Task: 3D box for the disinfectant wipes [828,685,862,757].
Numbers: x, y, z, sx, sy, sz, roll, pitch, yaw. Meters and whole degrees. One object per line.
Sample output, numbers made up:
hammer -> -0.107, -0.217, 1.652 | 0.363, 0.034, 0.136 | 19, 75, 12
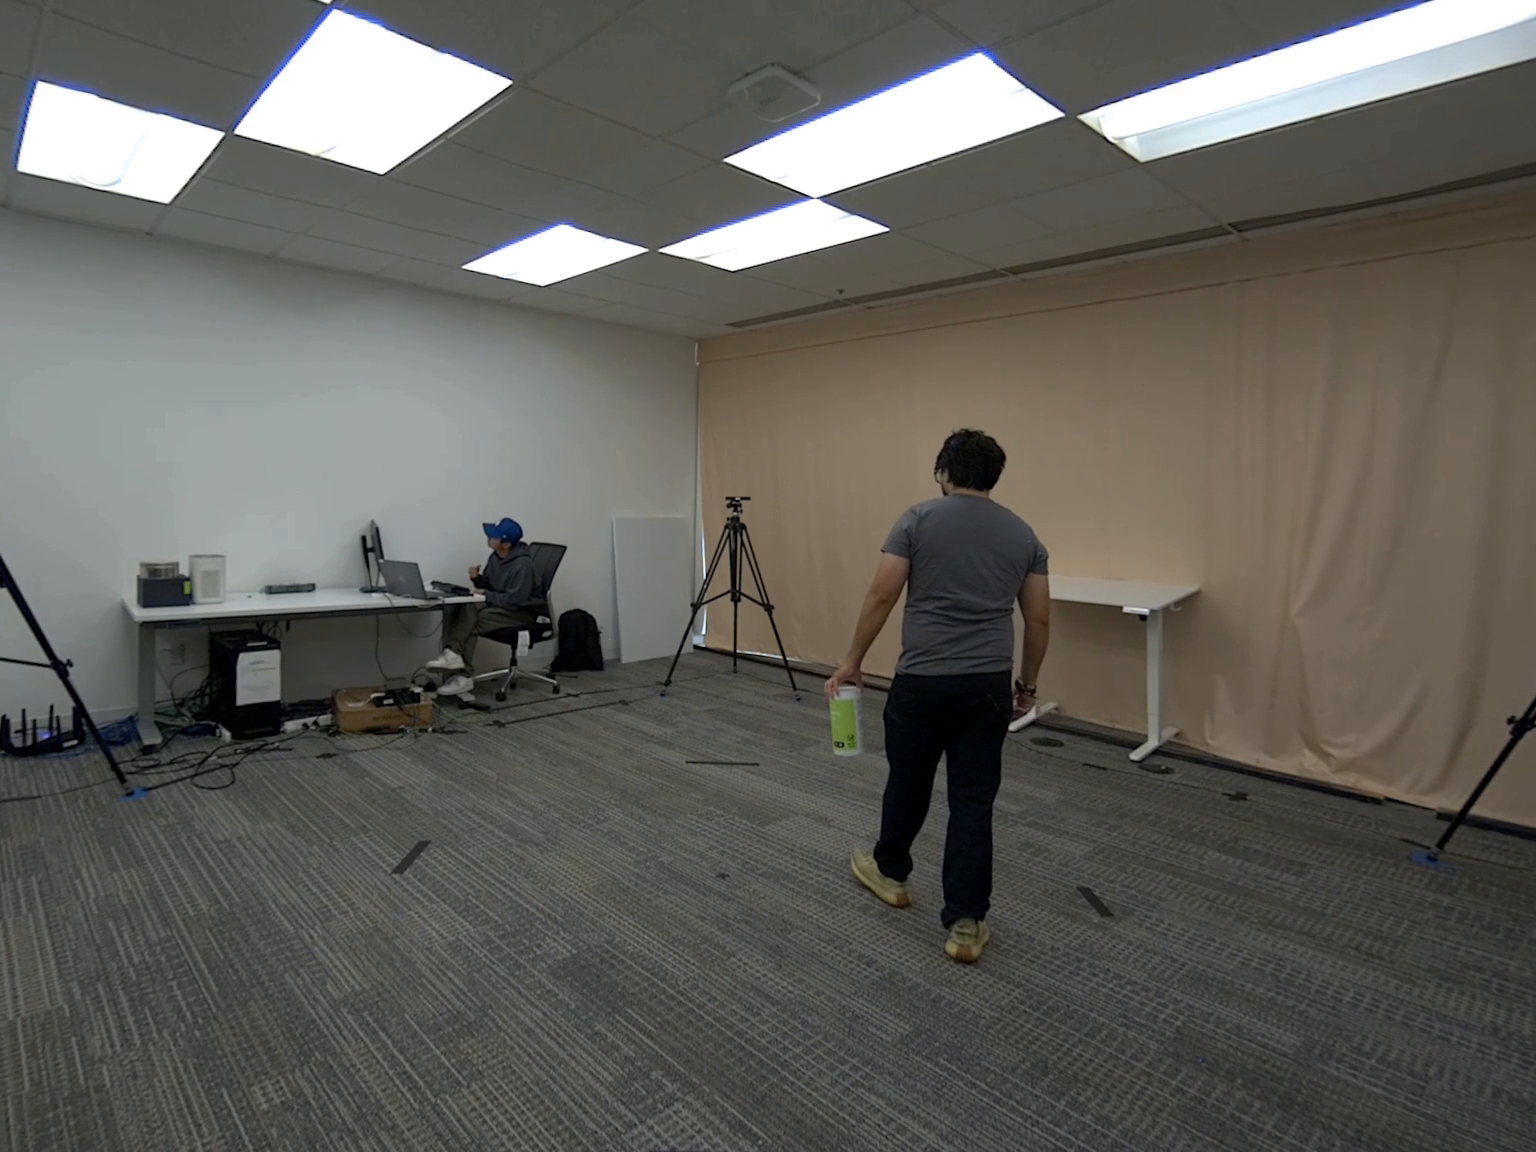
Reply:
disinfectant wipes -> 0.259, 0.487, 2.825 | 0.118, 0.217, 0.118 | -3, 1, -1
